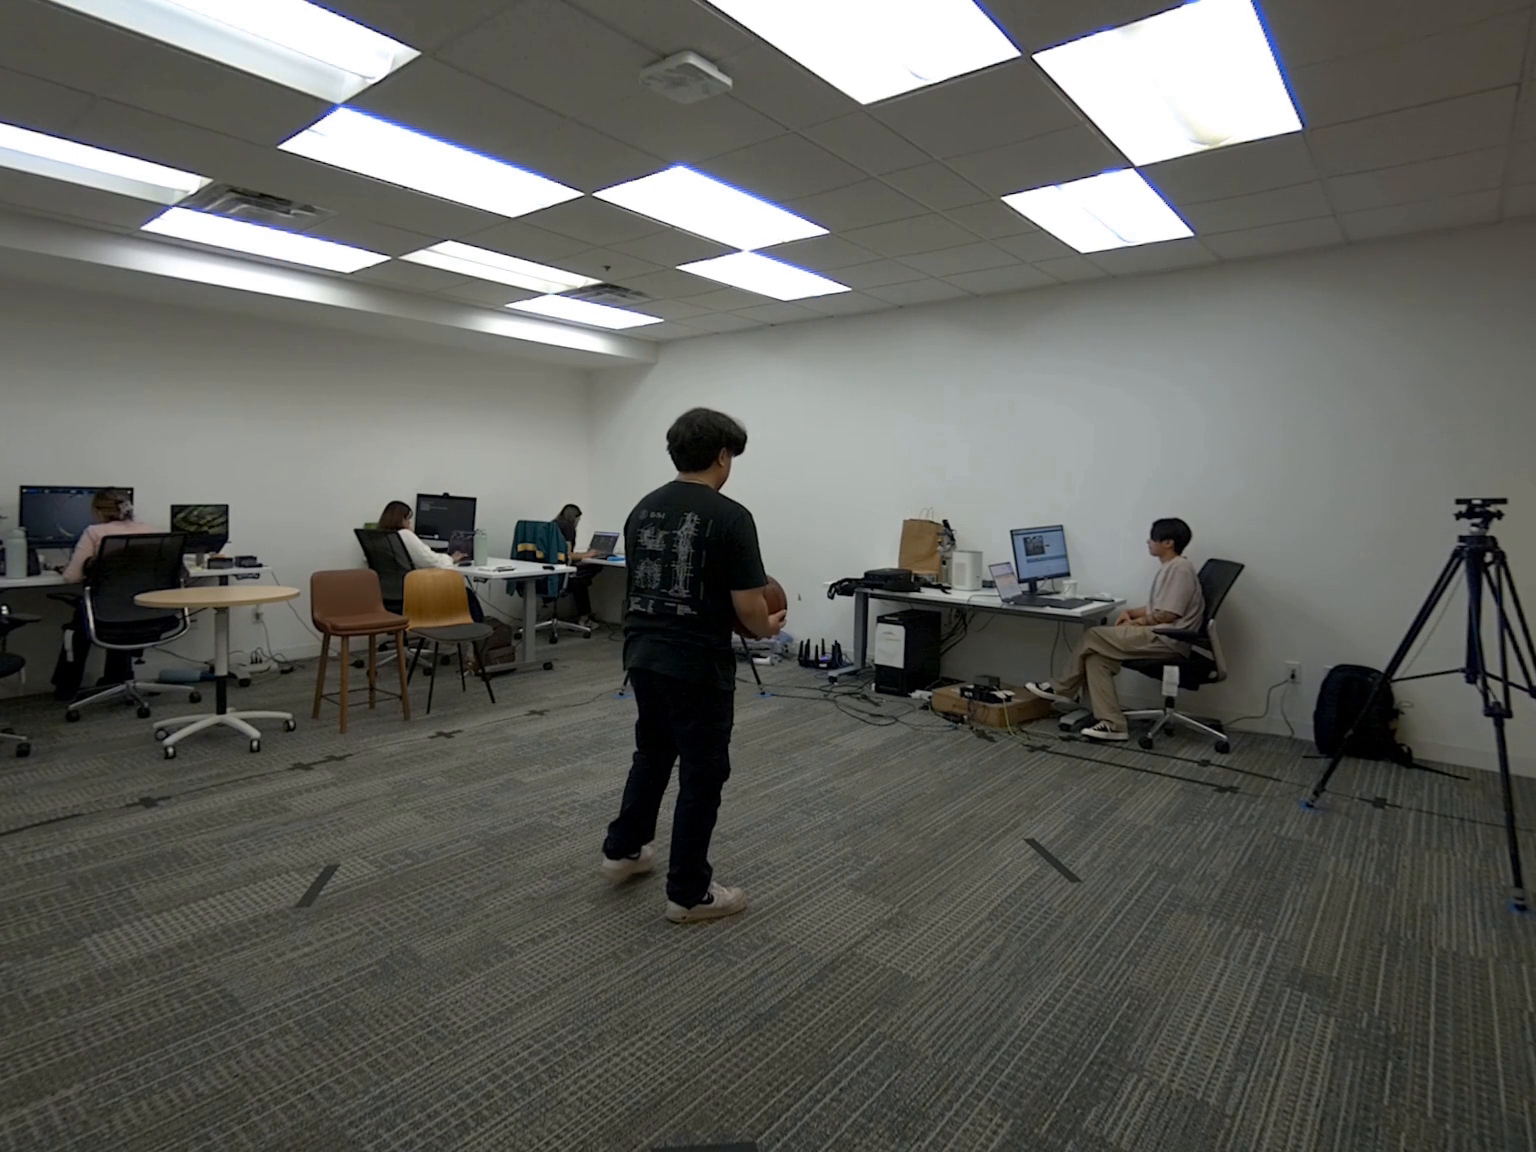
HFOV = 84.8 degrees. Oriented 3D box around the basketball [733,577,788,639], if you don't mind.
[{"bbox_3d":[-0.055,0.097,3.026,0.235,0.235,0.237,1,4,-2],"label":"basketball"}]
